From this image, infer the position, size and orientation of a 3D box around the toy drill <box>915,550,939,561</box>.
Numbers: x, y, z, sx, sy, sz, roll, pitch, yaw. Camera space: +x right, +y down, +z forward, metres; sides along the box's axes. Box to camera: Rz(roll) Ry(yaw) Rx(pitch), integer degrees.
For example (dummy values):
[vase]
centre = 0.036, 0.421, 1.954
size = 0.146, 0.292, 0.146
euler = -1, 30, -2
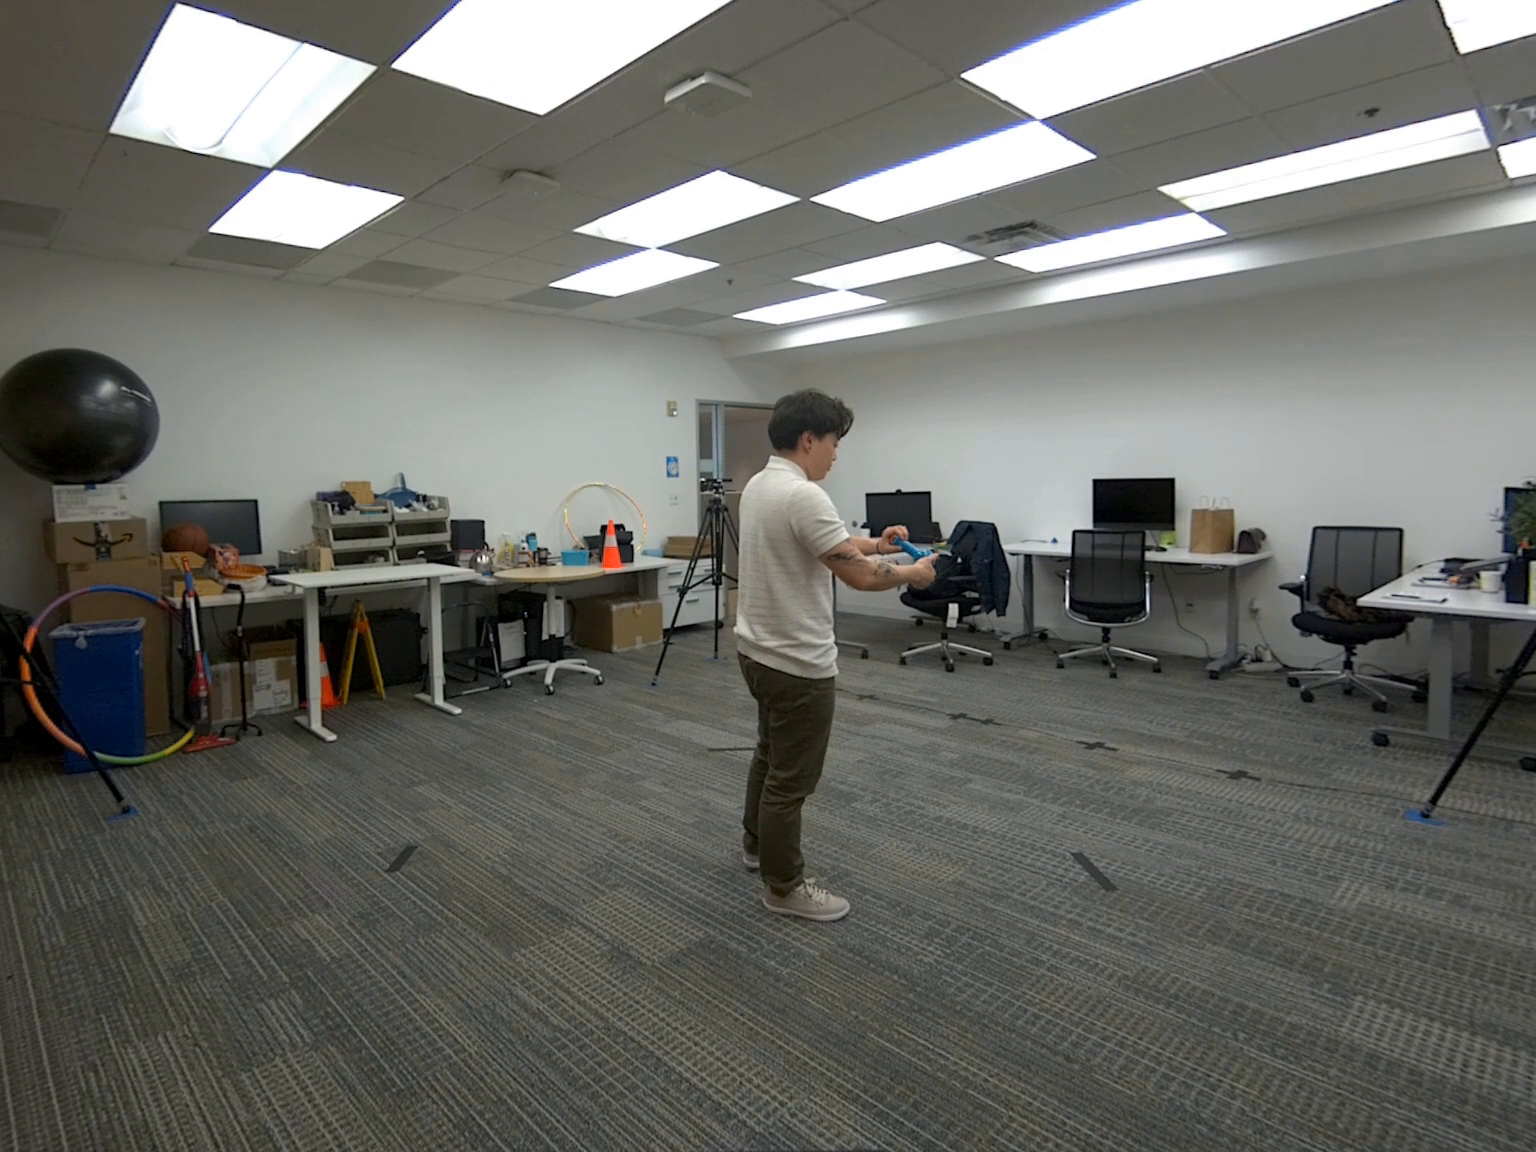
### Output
[toy drill]
centre = 0.491, -0.068, 2.725
size = 0.164, 0.061, 0.152
euler = 10, 28, -45
